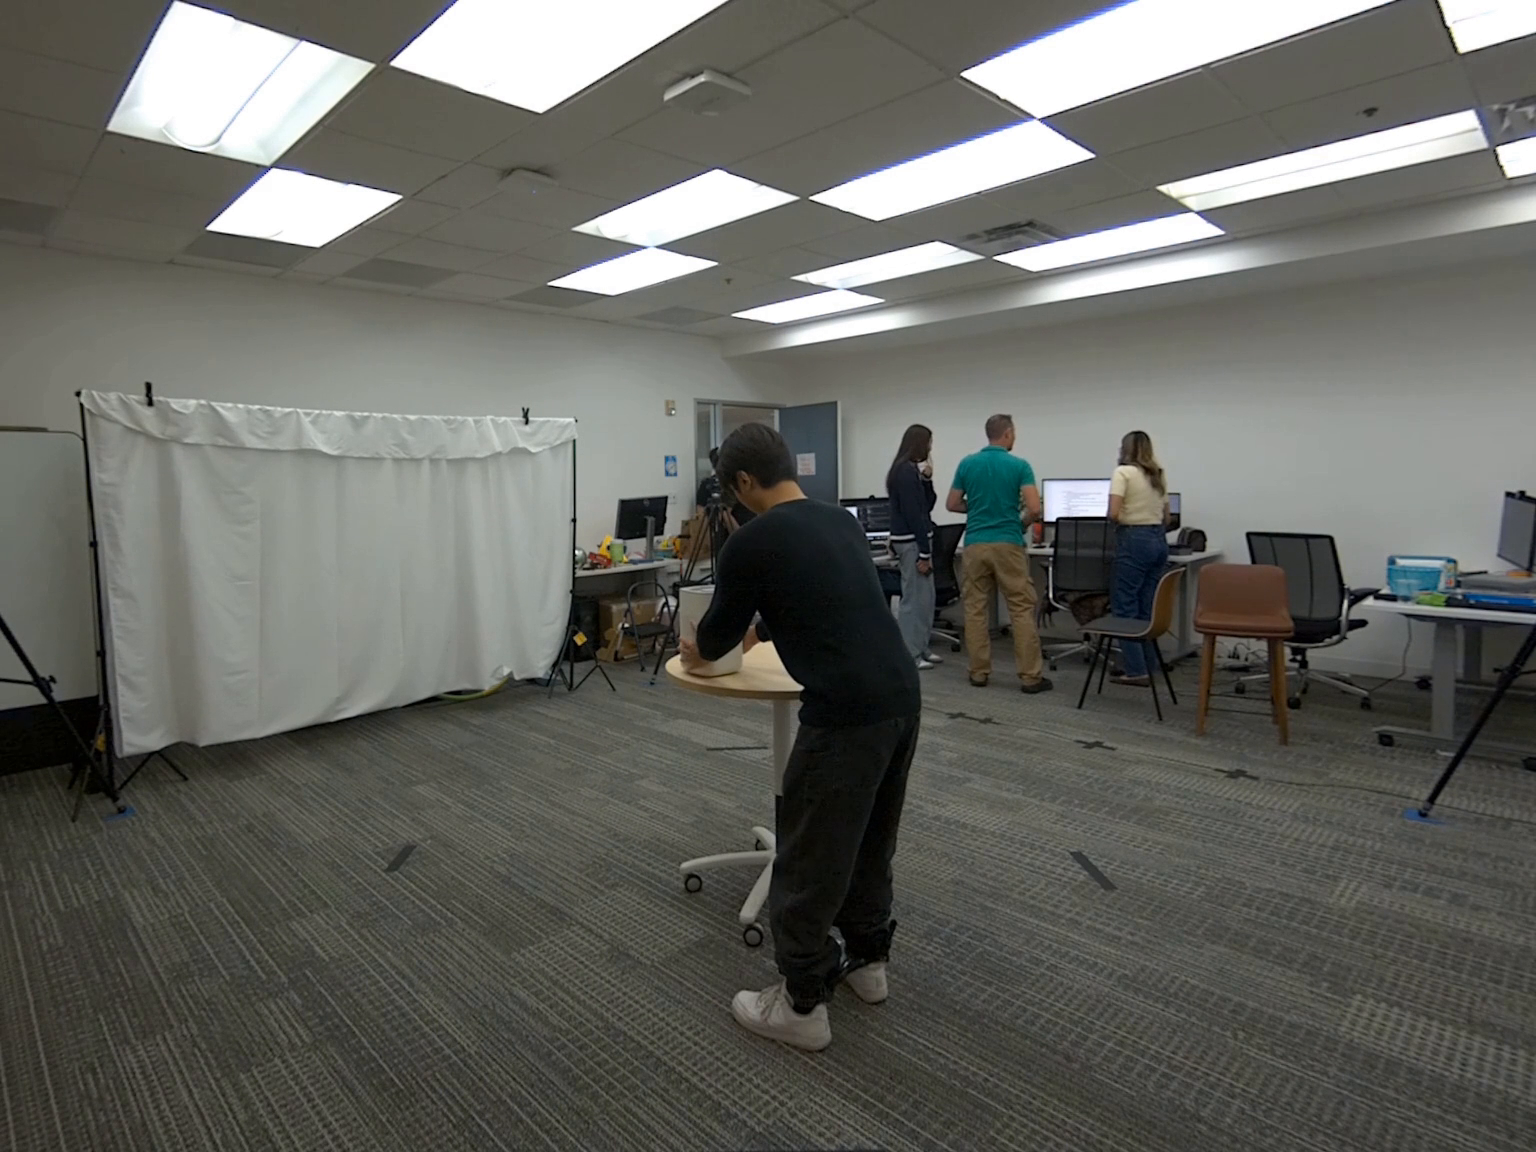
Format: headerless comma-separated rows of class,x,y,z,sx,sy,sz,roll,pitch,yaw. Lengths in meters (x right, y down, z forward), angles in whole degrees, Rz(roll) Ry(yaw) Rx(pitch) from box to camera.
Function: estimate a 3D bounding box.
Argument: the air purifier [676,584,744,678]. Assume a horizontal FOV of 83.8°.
air purifier,-0.175,0.172,2.710,0.166,0.265,0.177,-3,4,-41
